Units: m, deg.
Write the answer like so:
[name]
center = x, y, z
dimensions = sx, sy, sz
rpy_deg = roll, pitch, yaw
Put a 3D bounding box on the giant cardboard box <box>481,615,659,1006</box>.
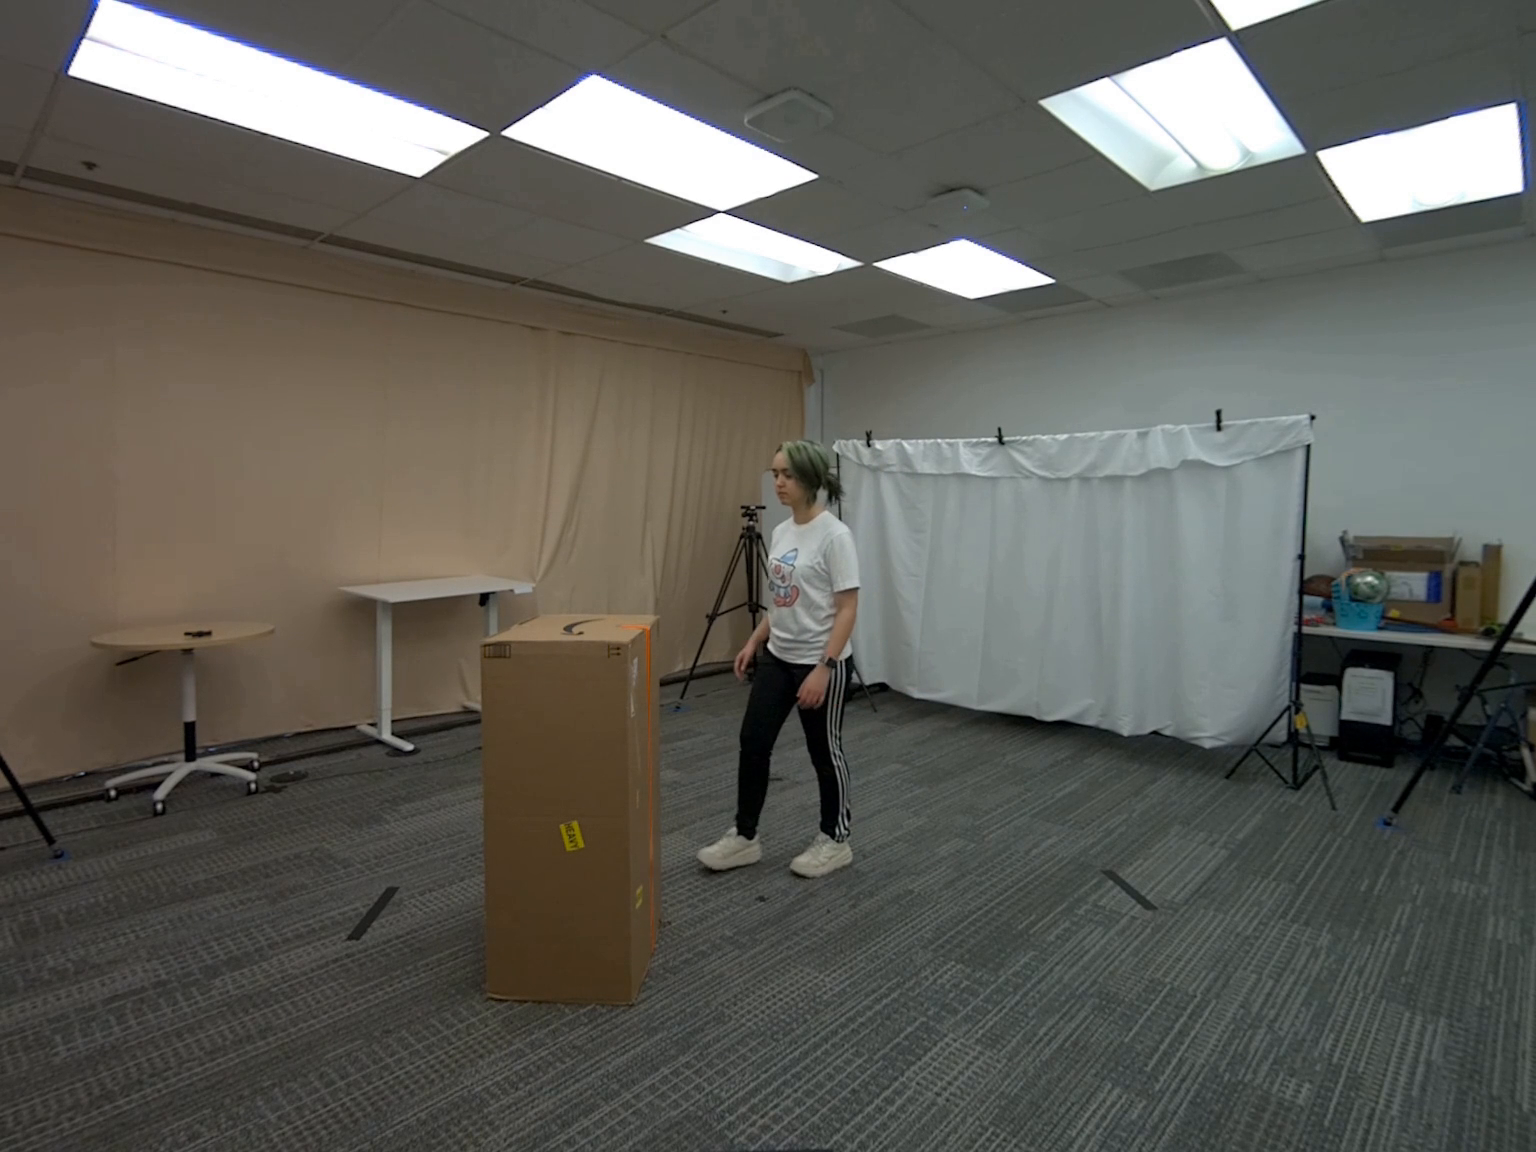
[giant cardboard box]
center = -0.584, 0.670, 2.621
dimensions = 0.448, 1.025, 0.583
rpy_deg = 0, 2, 2
